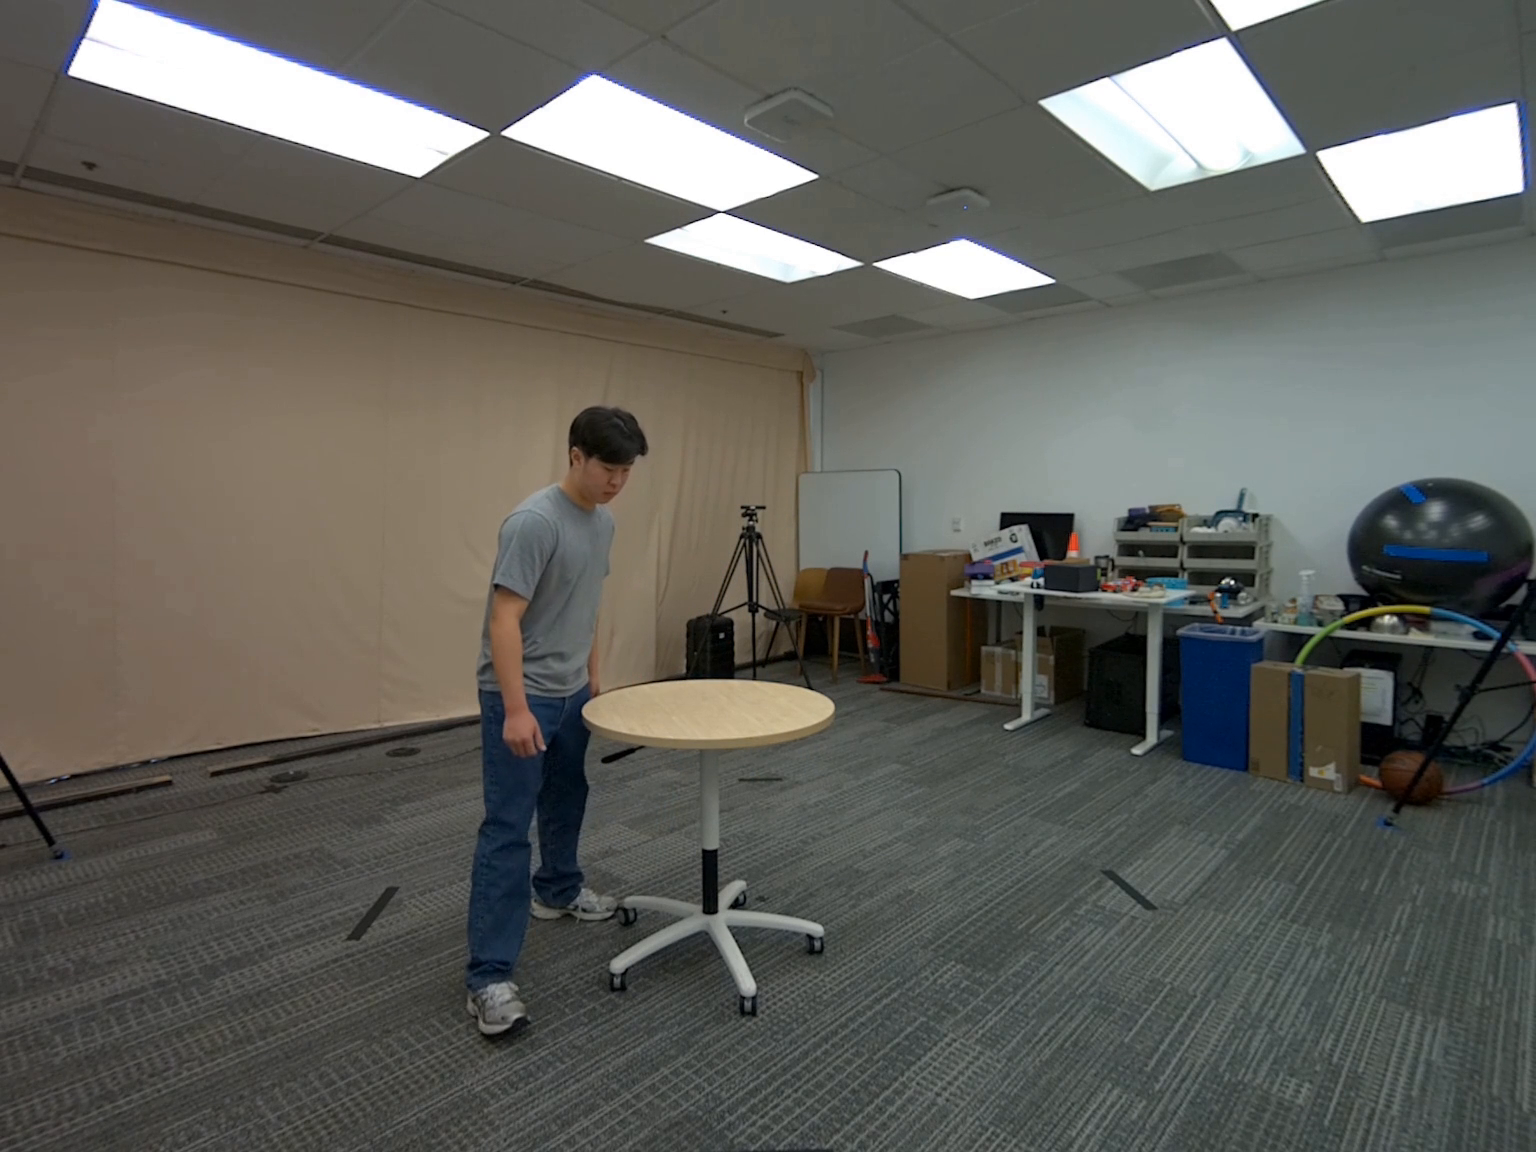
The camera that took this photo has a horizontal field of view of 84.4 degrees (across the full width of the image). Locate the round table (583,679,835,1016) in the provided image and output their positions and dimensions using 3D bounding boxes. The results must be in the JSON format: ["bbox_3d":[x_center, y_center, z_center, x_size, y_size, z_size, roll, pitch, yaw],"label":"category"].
[{"bbox_3d":[-0.172,0.790,2.583,0.763,0.792,0.766,-1,4,-2],"label":"round table"}]
